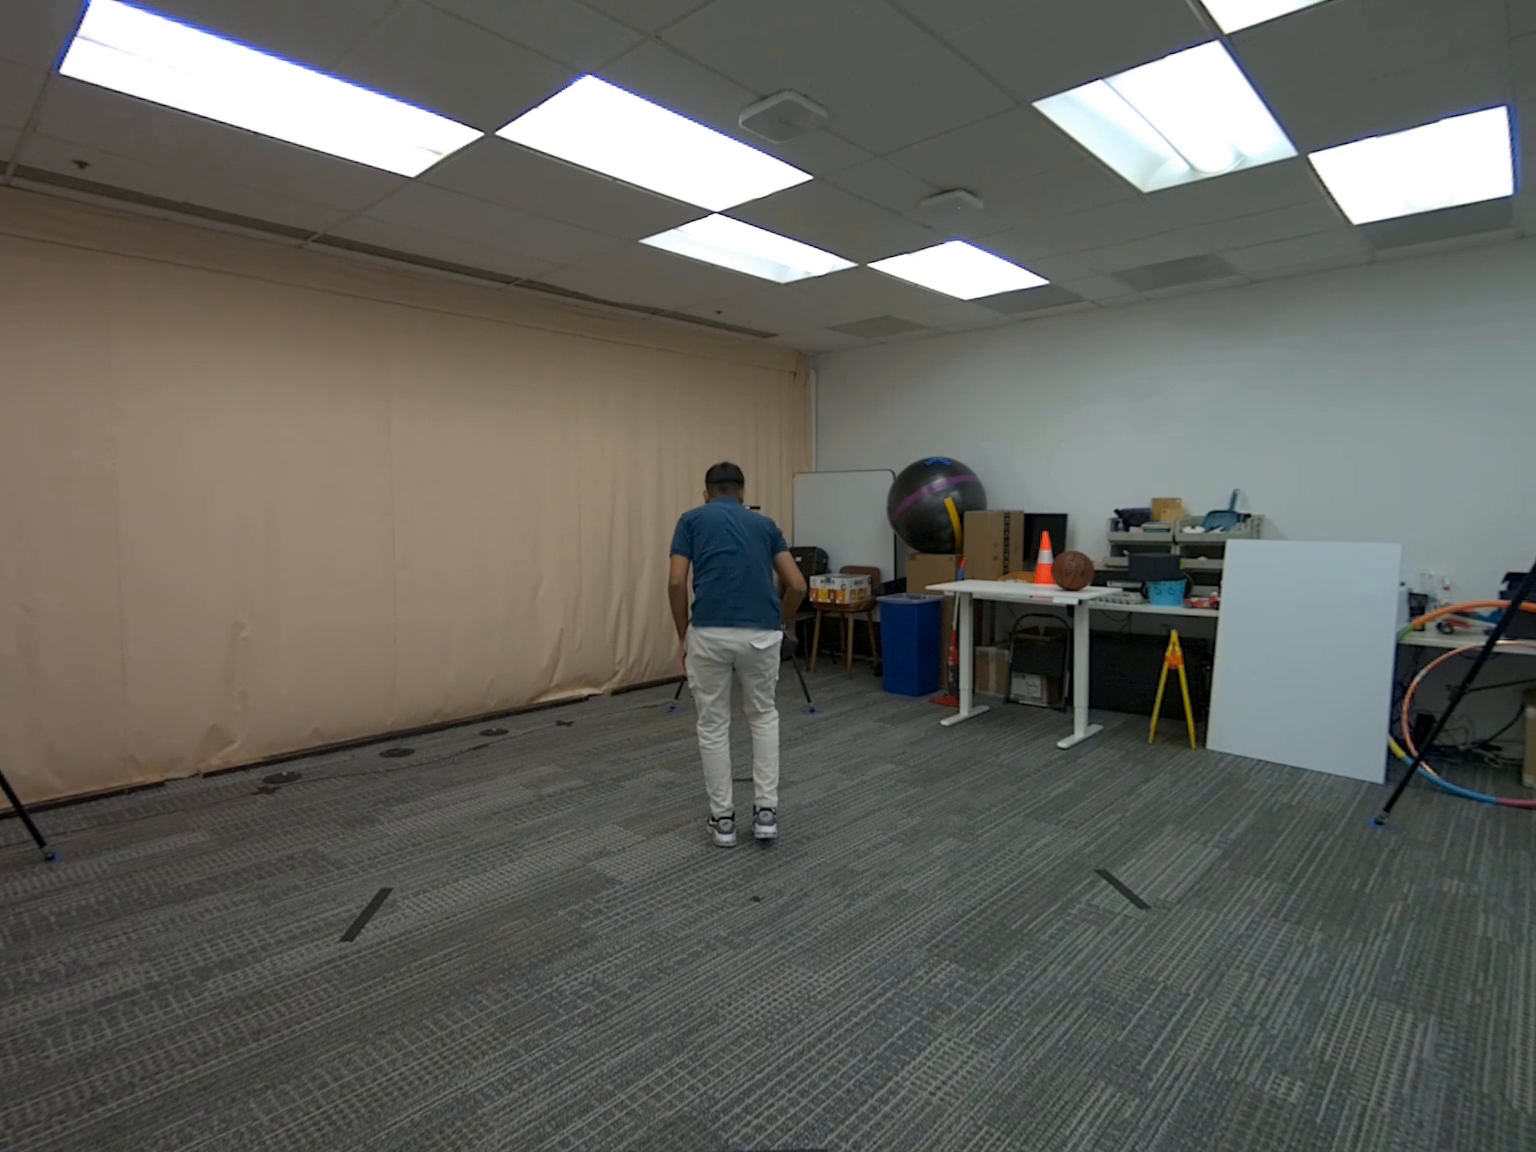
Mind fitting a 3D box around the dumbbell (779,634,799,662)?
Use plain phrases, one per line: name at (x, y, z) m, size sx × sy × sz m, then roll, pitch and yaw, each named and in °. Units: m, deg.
dumbbell at (-0.025, 0.332, 3.633) m, size 0.295 × 0.109 × 0.122 m, roll -11°, pitch -3°, yaw 4°
